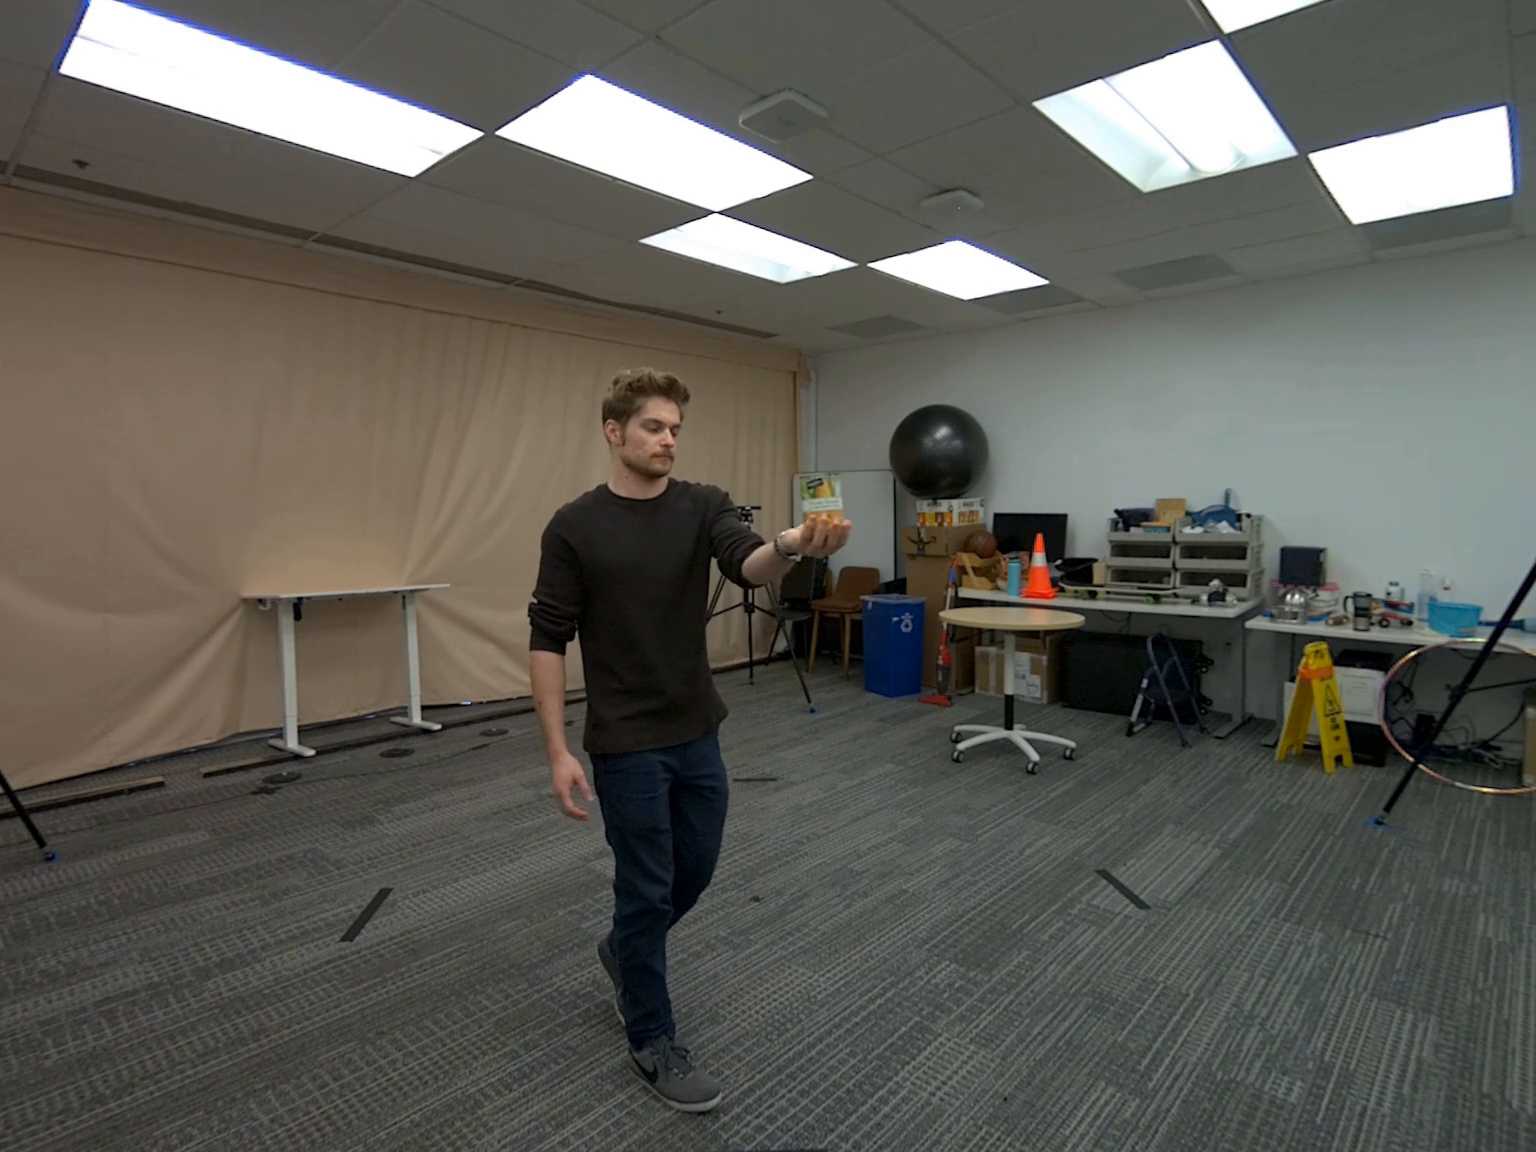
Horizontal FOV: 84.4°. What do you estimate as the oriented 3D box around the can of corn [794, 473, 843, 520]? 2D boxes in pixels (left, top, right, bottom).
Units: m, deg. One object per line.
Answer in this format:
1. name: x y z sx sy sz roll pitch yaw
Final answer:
1. can of corn: 0.101 -0.129 1.583 0.074 0.111 0.074 -4 1 -2
